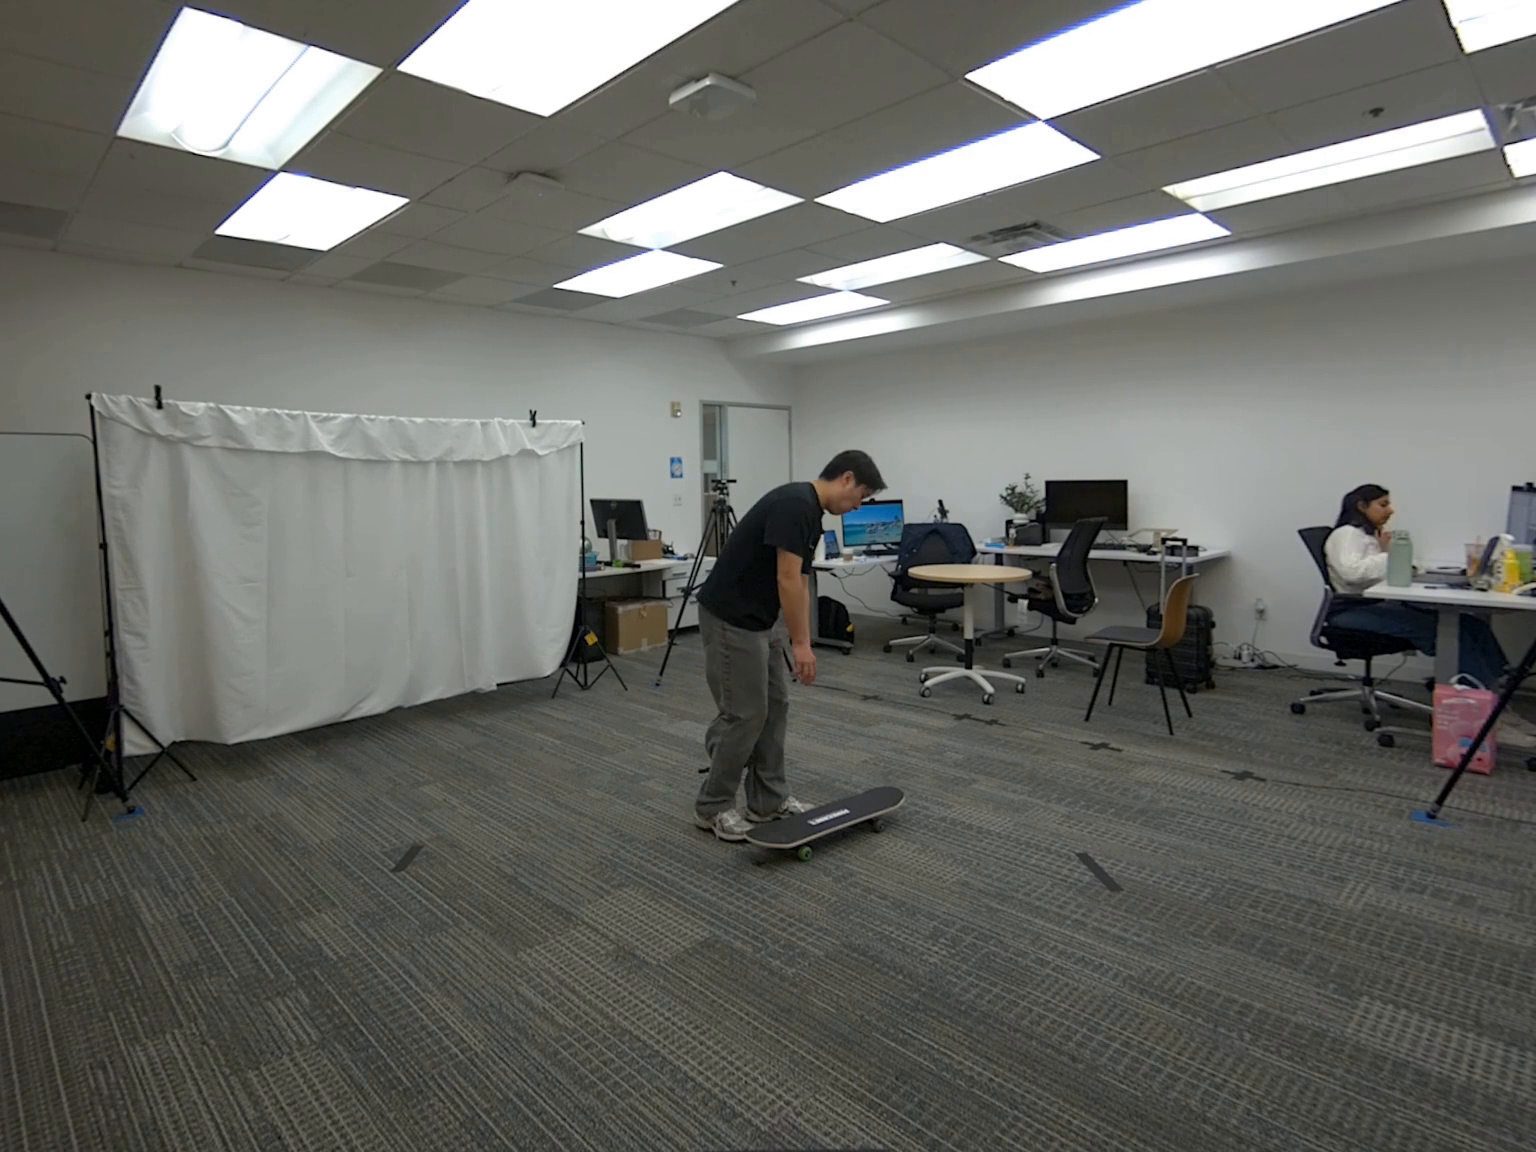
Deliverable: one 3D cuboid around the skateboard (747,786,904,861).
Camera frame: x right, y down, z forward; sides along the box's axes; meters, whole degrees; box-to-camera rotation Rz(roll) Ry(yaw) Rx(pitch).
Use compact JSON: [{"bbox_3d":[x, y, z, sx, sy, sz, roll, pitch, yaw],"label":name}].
[{"bbox_3d":[0.239,0.961,3.310,0.765,0.110,0.199,-6,7,-39],"label":"skateboard"}]
